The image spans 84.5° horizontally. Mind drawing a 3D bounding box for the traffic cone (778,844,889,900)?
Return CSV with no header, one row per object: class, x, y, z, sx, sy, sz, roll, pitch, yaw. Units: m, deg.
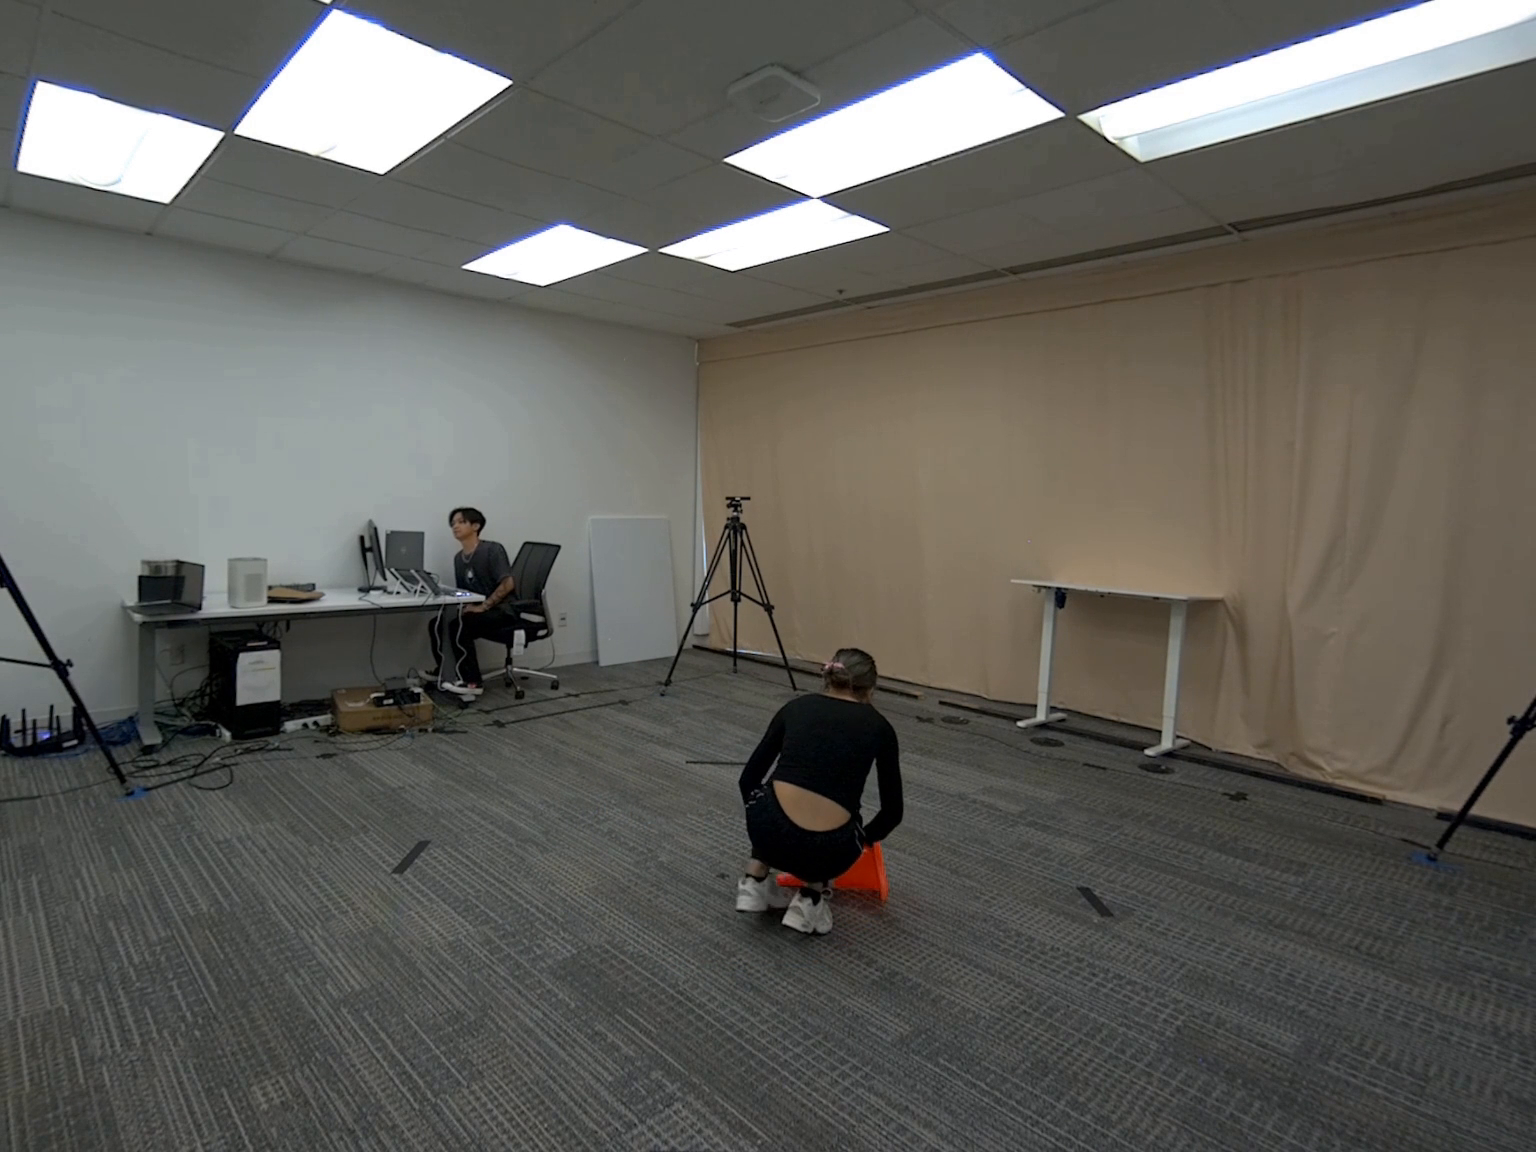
traffic cone,0.212,1.071,3.004,0.387,0.205,0.201,-14,-12,14
